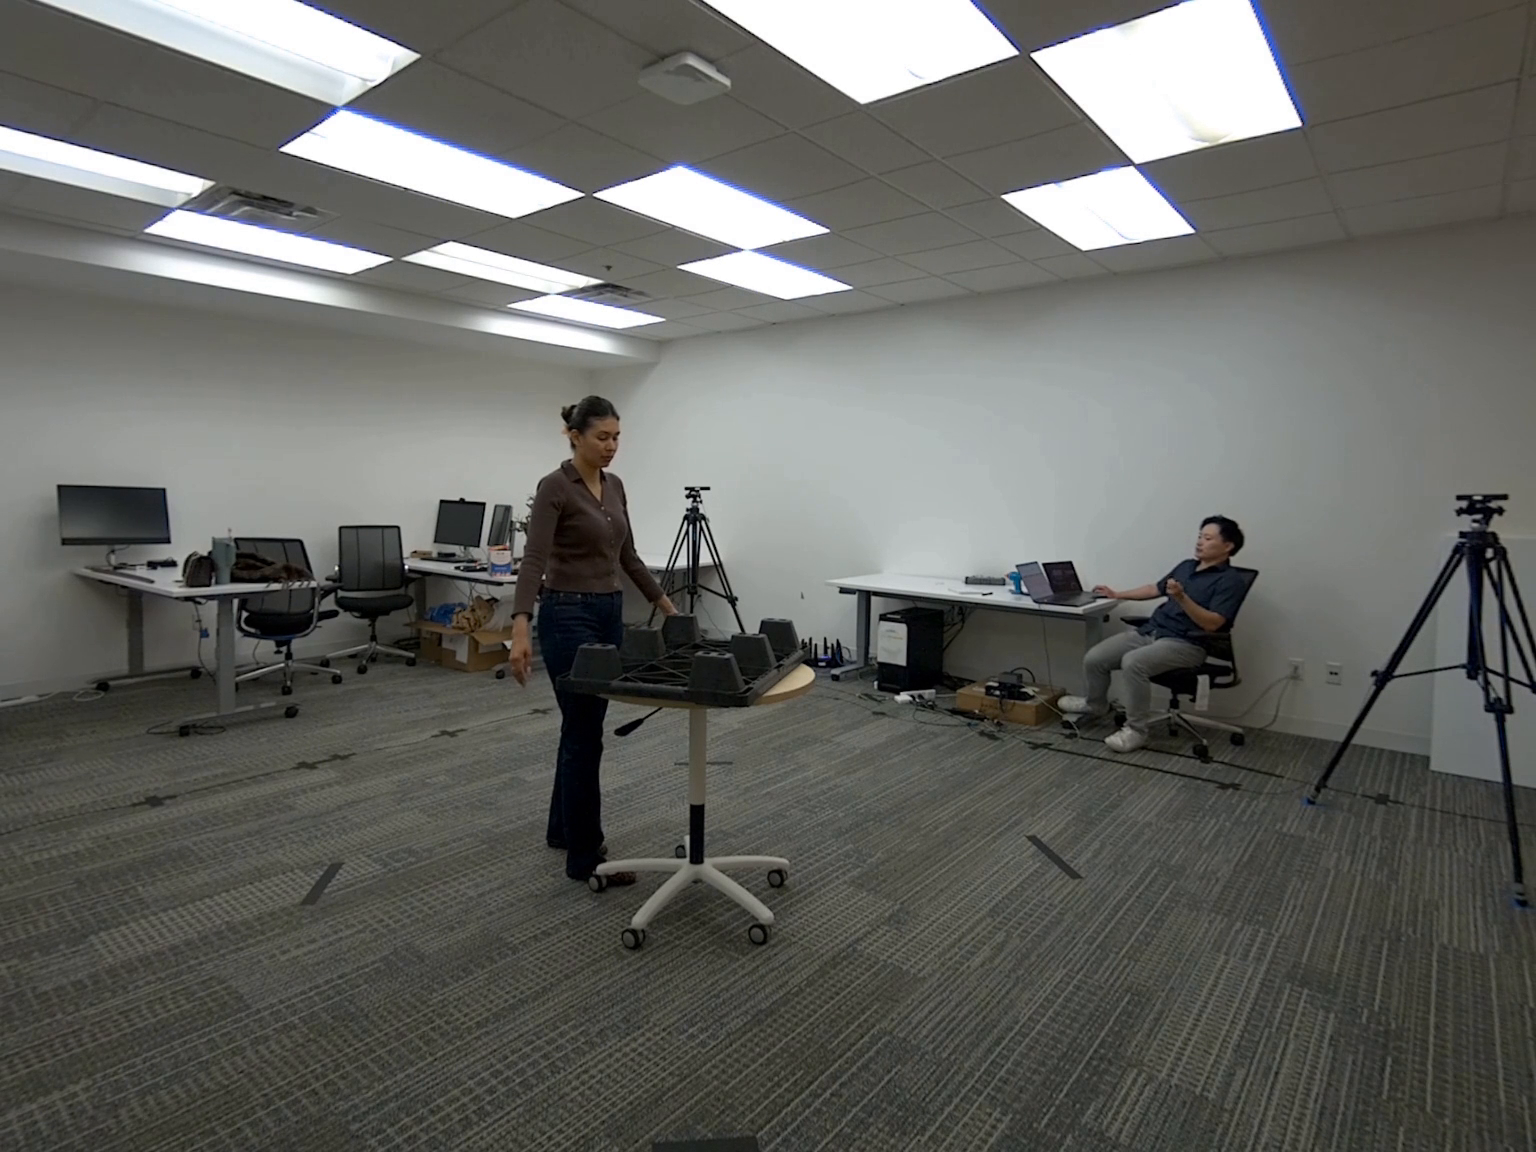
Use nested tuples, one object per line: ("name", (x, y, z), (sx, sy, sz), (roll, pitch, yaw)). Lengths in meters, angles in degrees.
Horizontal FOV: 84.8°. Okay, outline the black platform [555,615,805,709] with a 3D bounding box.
("black platform", (-0.251, 0.250, 2.803), (0.617, 0.143, 0.793), (2, 5, 17))
